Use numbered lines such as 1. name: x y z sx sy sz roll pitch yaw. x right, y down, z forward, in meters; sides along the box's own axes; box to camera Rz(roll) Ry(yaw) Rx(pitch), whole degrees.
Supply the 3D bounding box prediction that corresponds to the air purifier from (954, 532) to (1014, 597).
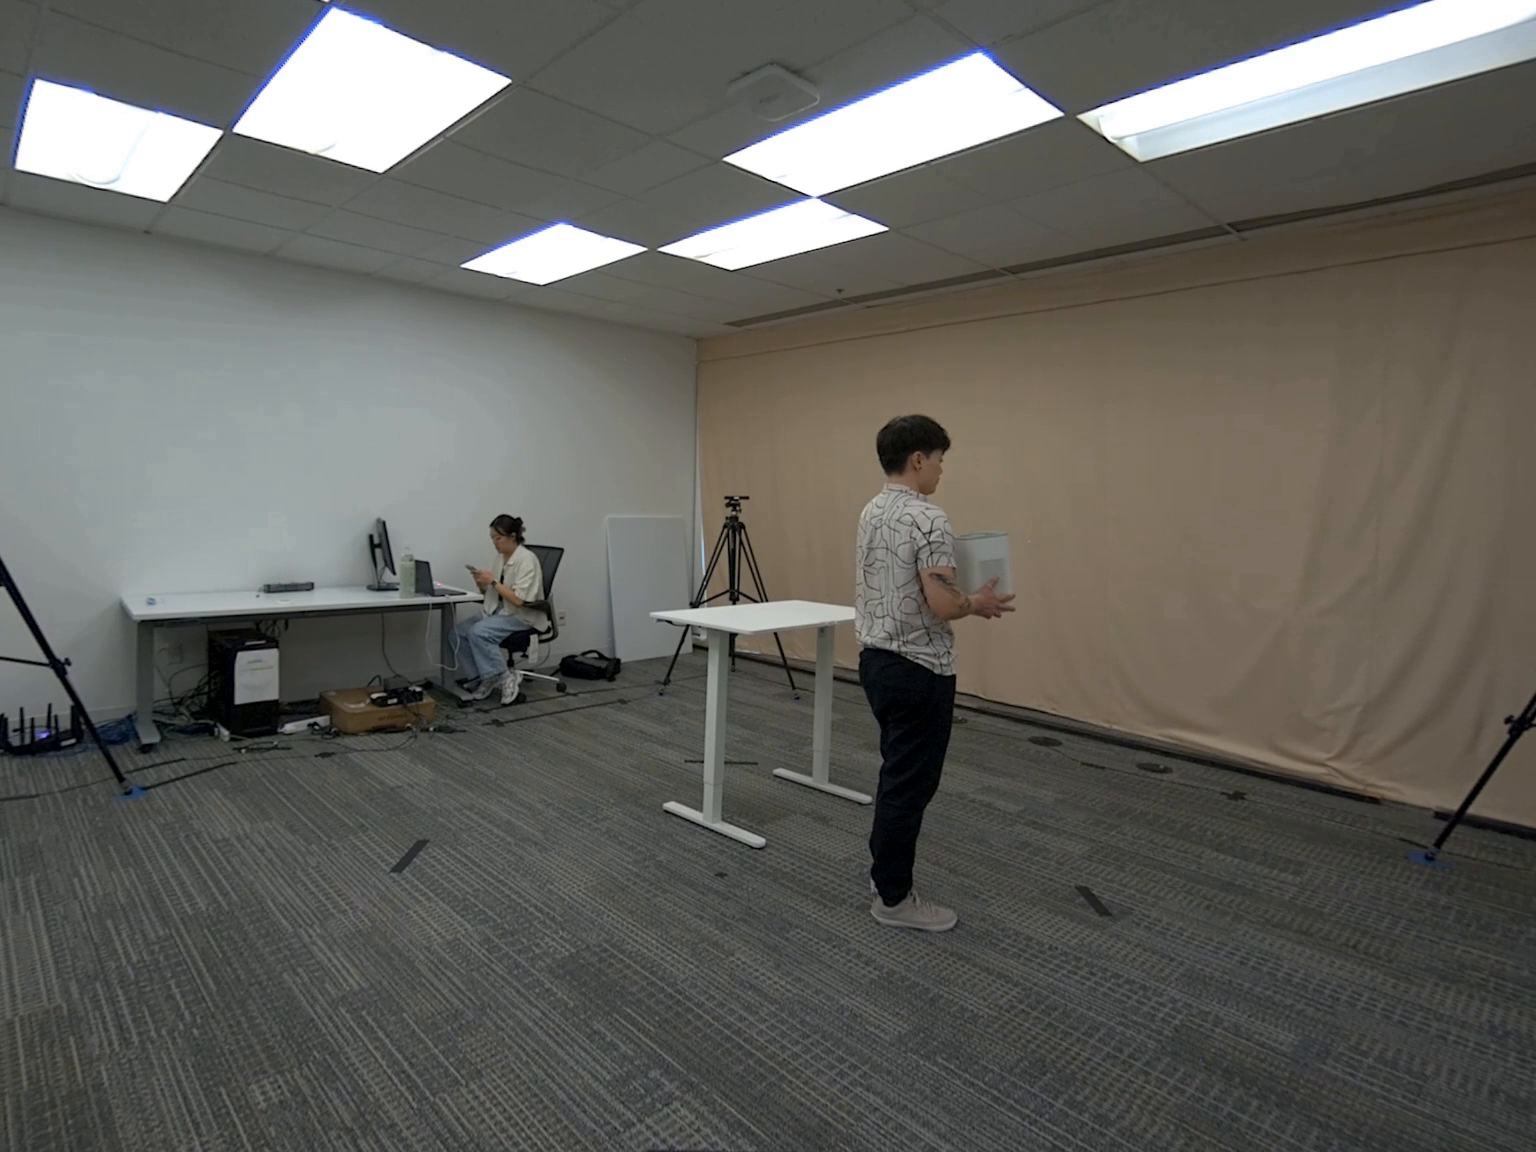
1. air purifier: 0.712 -0.011 2.851 0.170 0.264 0.174 -8 6 -17
